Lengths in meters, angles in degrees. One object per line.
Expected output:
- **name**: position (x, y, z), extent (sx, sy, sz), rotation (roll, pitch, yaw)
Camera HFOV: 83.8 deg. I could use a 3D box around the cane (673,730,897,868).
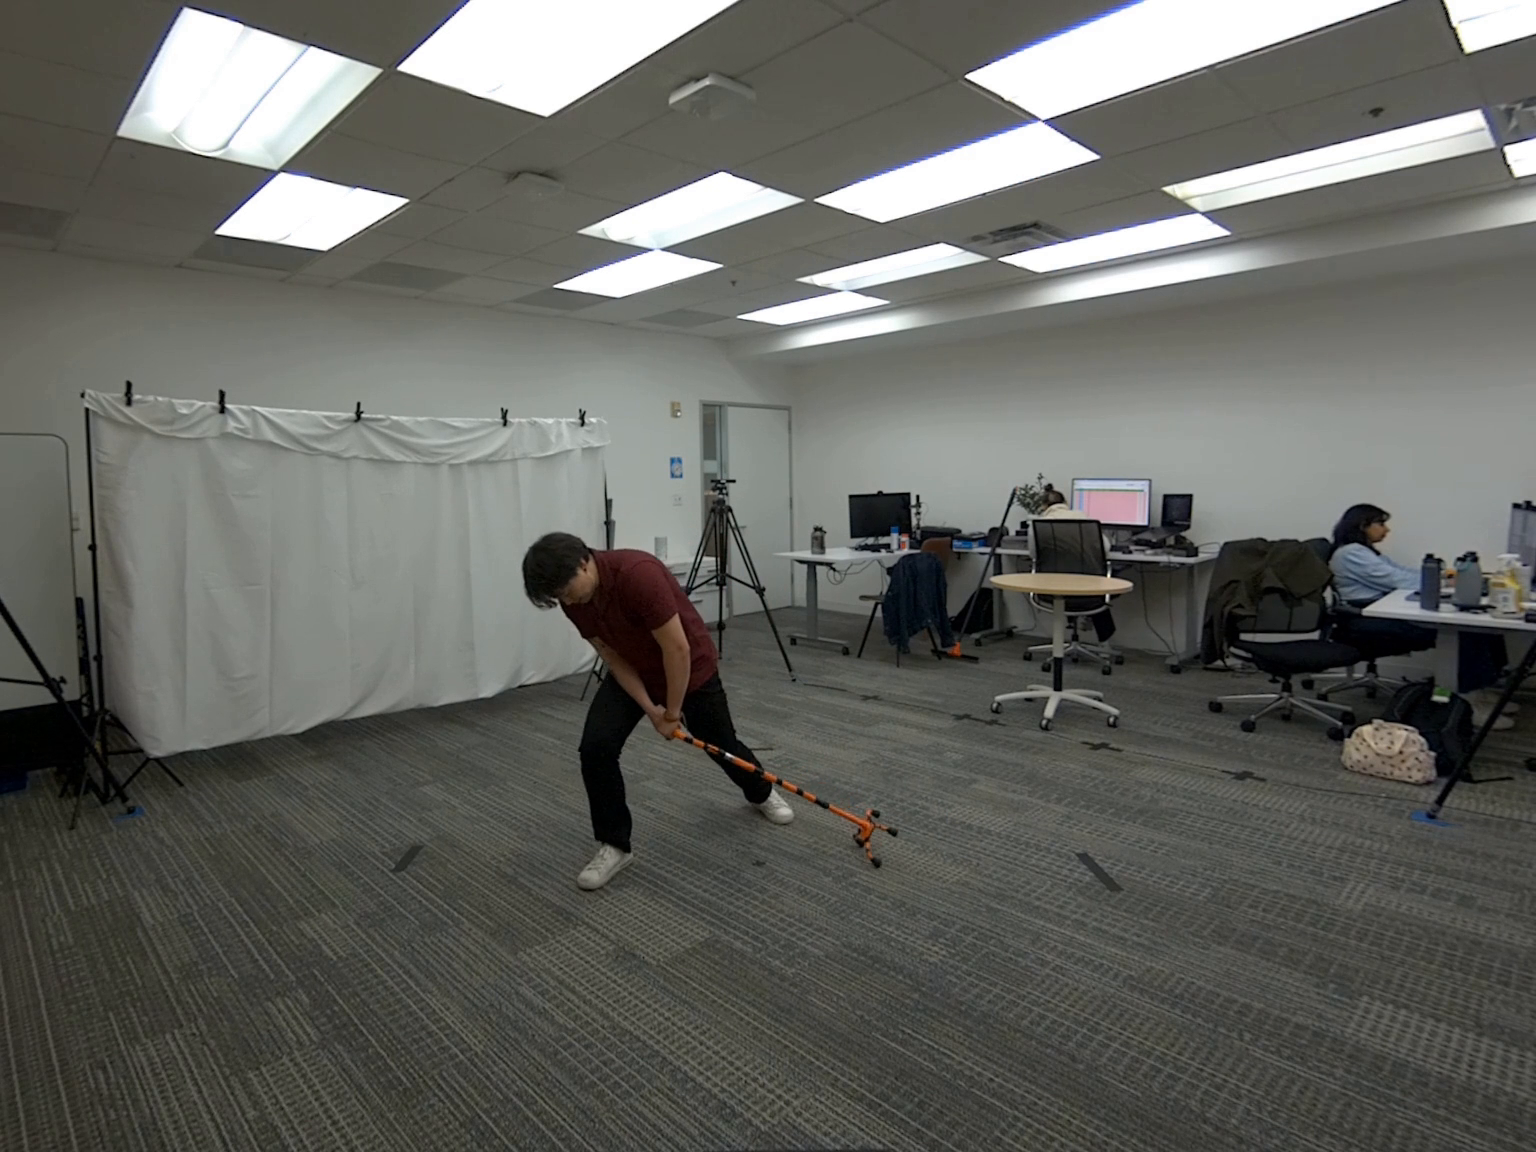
- **cane**: position (0.019, 0.746, 3.076), extent (0.896, 0.151, 0.209), rotation (29, 1, -10)
